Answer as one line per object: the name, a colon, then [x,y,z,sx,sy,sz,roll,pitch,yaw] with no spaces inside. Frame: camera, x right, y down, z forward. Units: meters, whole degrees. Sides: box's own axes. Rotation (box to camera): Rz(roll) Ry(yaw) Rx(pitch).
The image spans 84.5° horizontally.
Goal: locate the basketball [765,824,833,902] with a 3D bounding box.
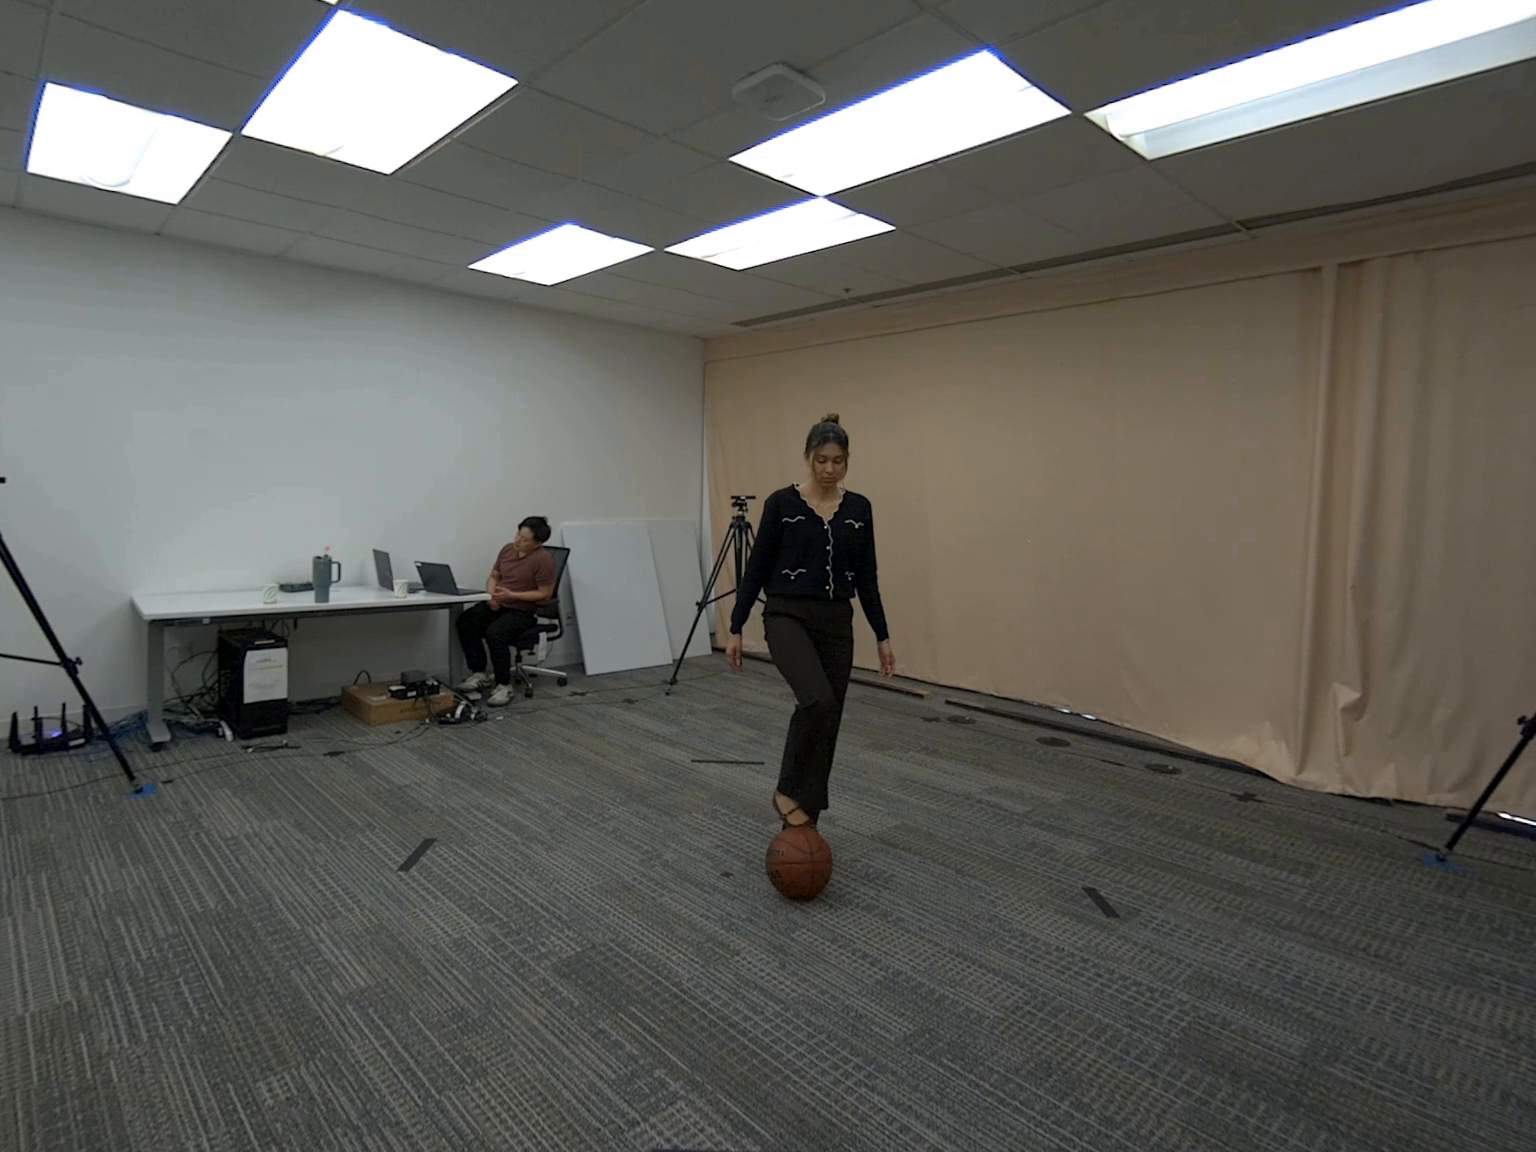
basketball: [0.102,1.002,2.934,0.236,0.235,0.237,1,4,-1]
